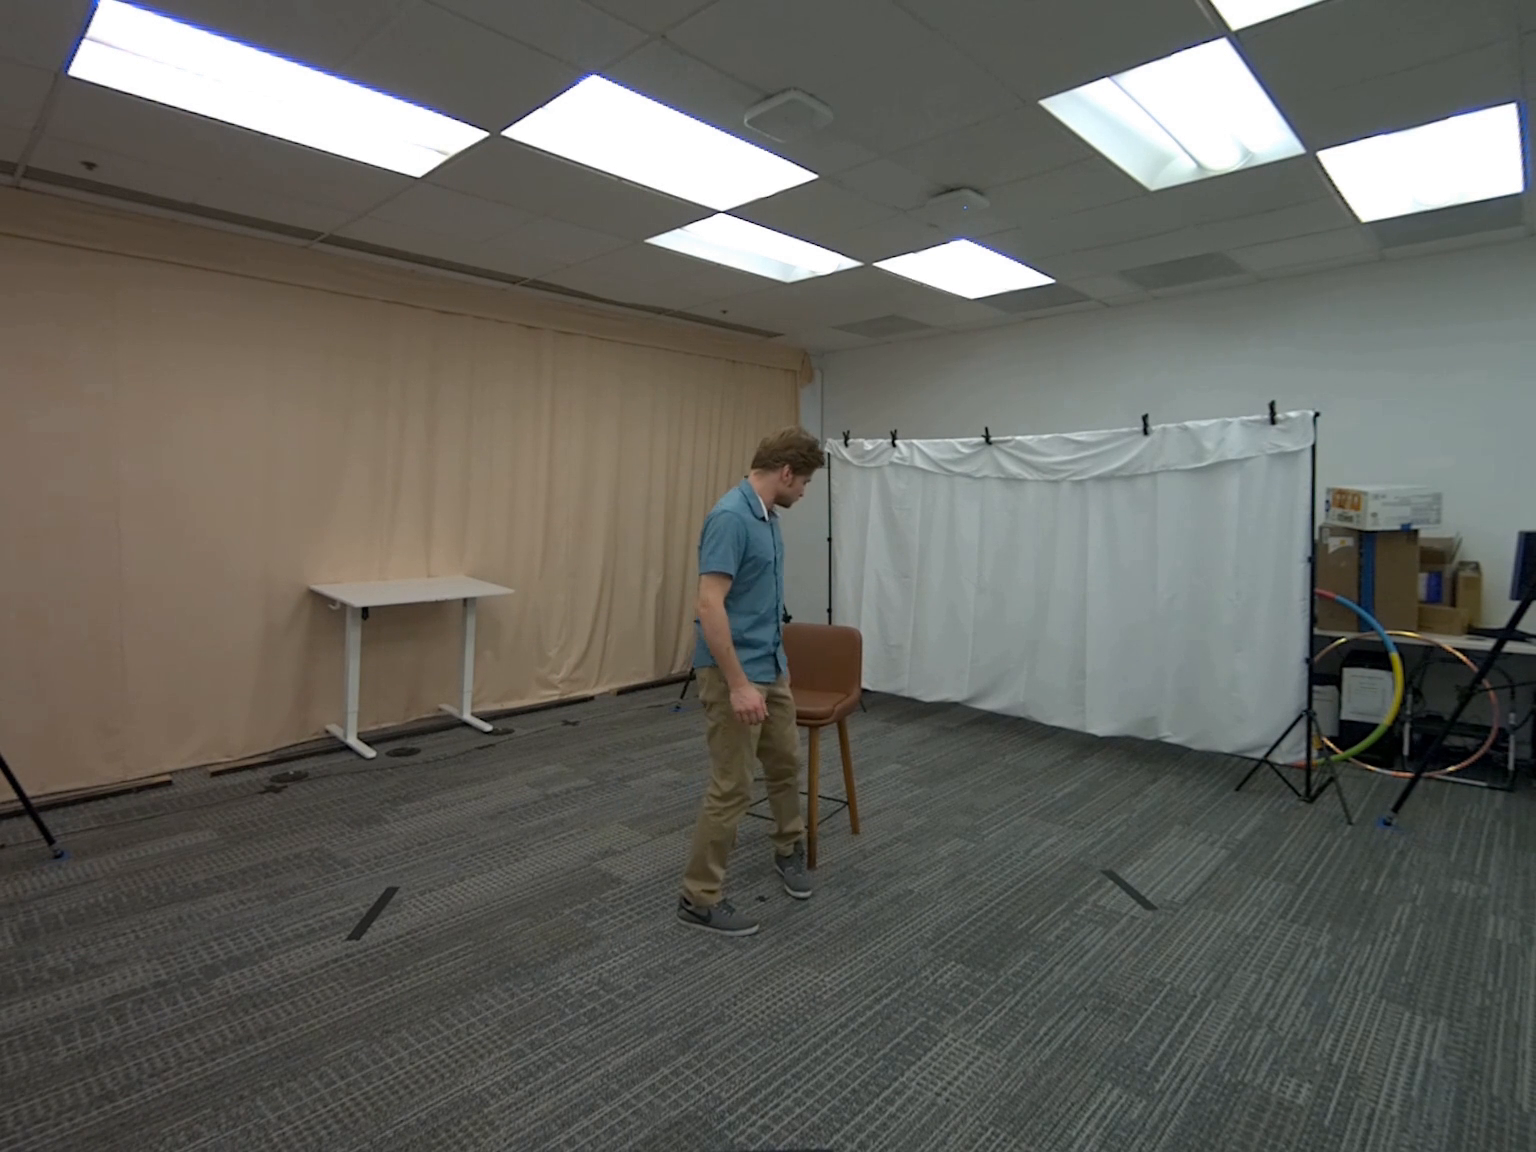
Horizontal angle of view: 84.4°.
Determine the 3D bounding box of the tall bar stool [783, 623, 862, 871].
[{"bbox_3d":[0.128,0.665,3.486,0.470,0.889,0.454,3,2,33],"label":"tall bar stool"}]
